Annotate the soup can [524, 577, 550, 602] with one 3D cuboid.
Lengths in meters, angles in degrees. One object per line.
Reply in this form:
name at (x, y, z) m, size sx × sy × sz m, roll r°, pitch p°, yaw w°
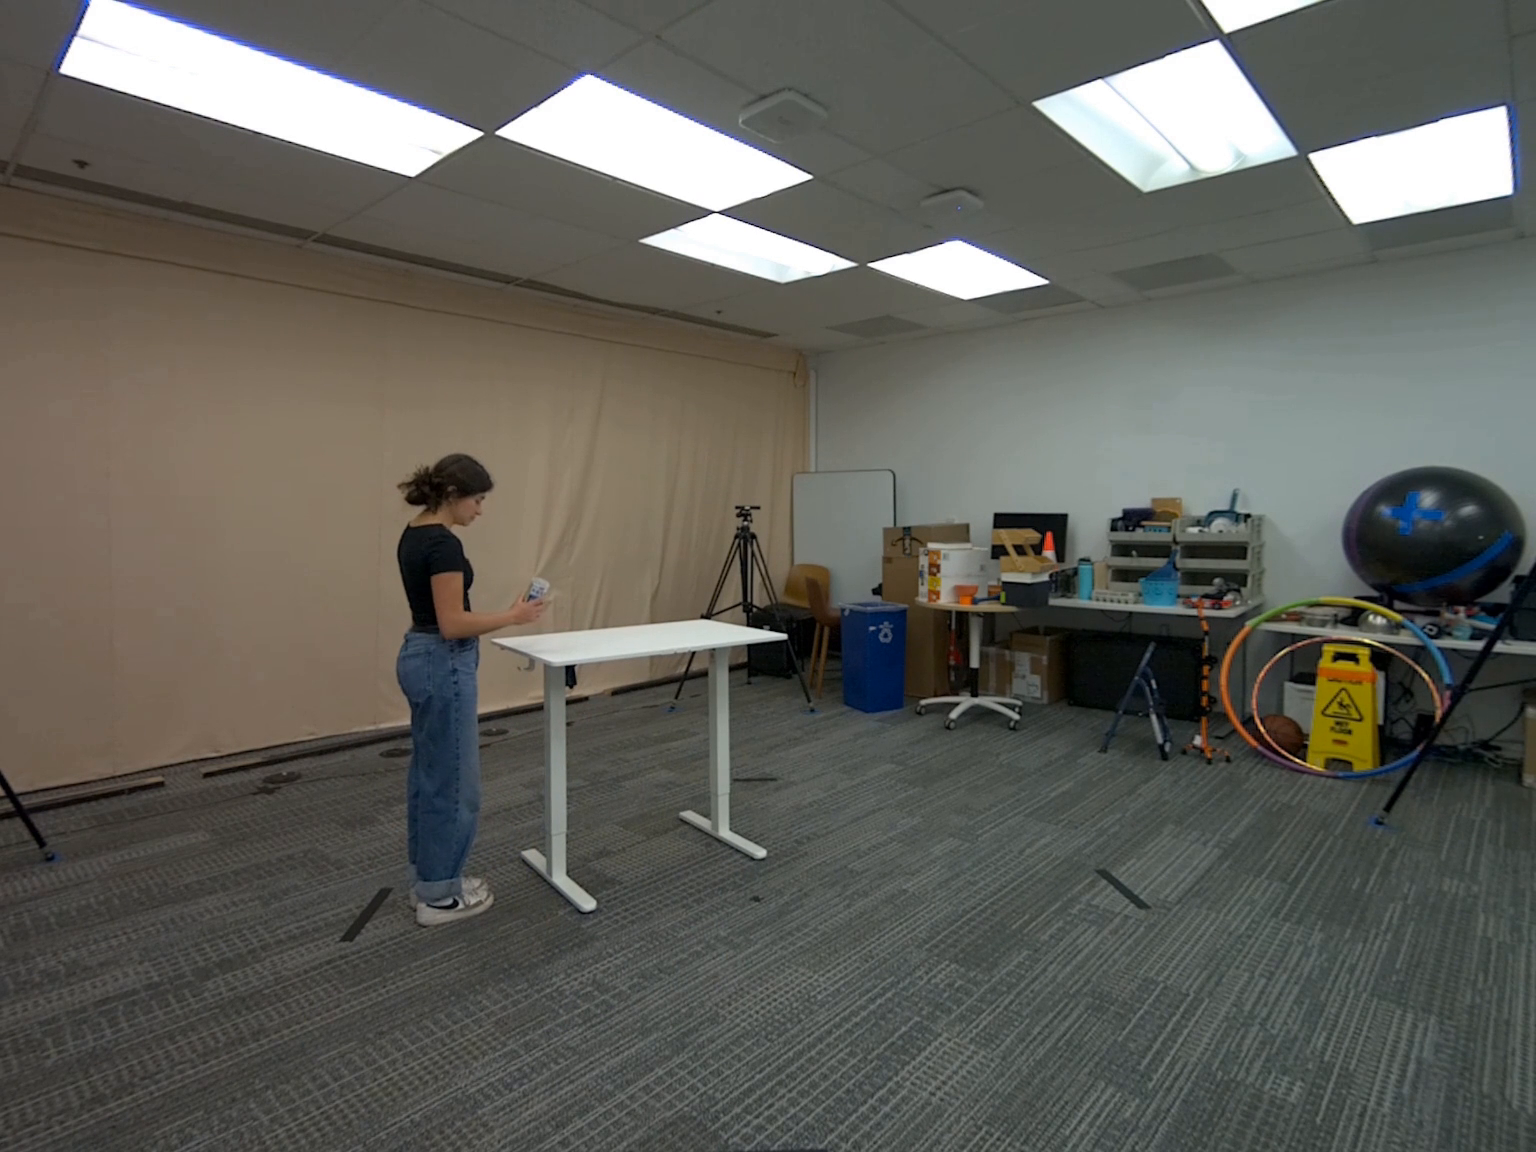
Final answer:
soup can at (-0.828, 0.069, 2.966) m, size 0.067 × 0.121 × 0.067 m, roll 16°, pitch 7°, yaw -4°
